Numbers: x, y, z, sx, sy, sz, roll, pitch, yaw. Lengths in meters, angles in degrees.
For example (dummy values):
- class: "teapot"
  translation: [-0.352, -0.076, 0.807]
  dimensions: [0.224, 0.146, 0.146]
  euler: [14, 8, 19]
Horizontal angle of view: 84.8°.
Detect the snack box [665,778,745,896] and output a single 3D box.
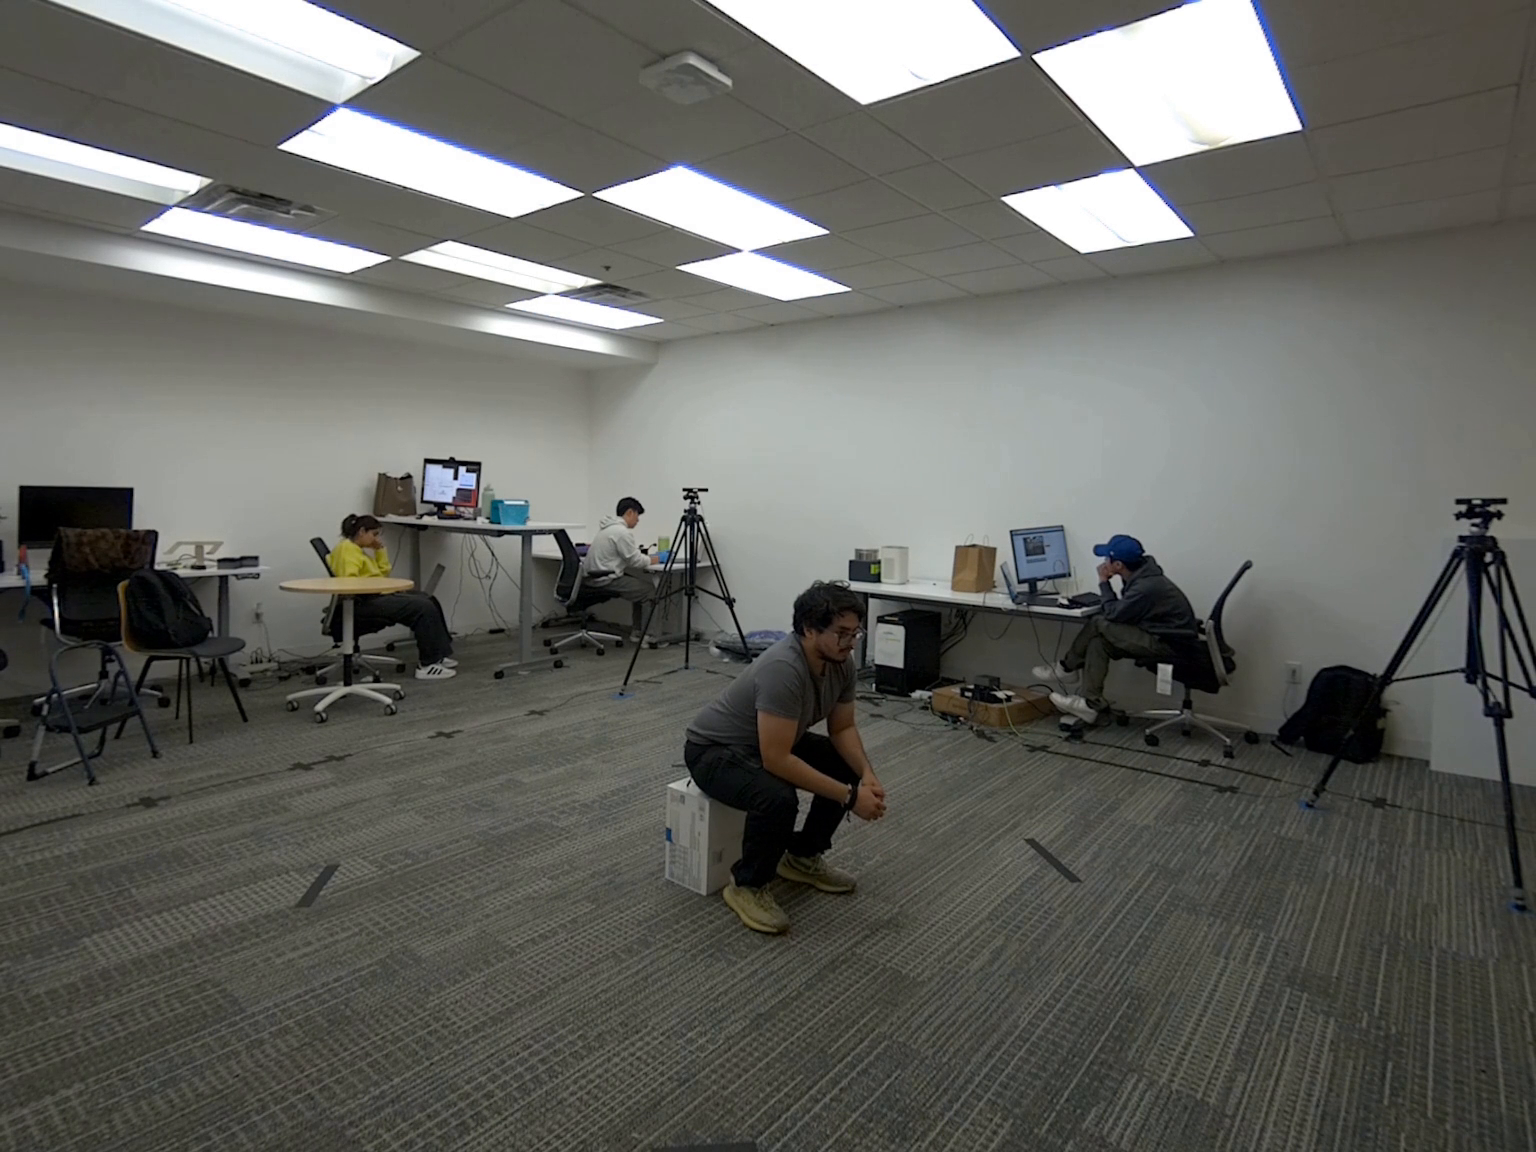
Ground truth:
- class: "snack box"
  translation: [-0.173, 0.903, 3.109]
  dimensions: [0.212, 0.339, 0.393]
  euler: [5, 6, 39]
